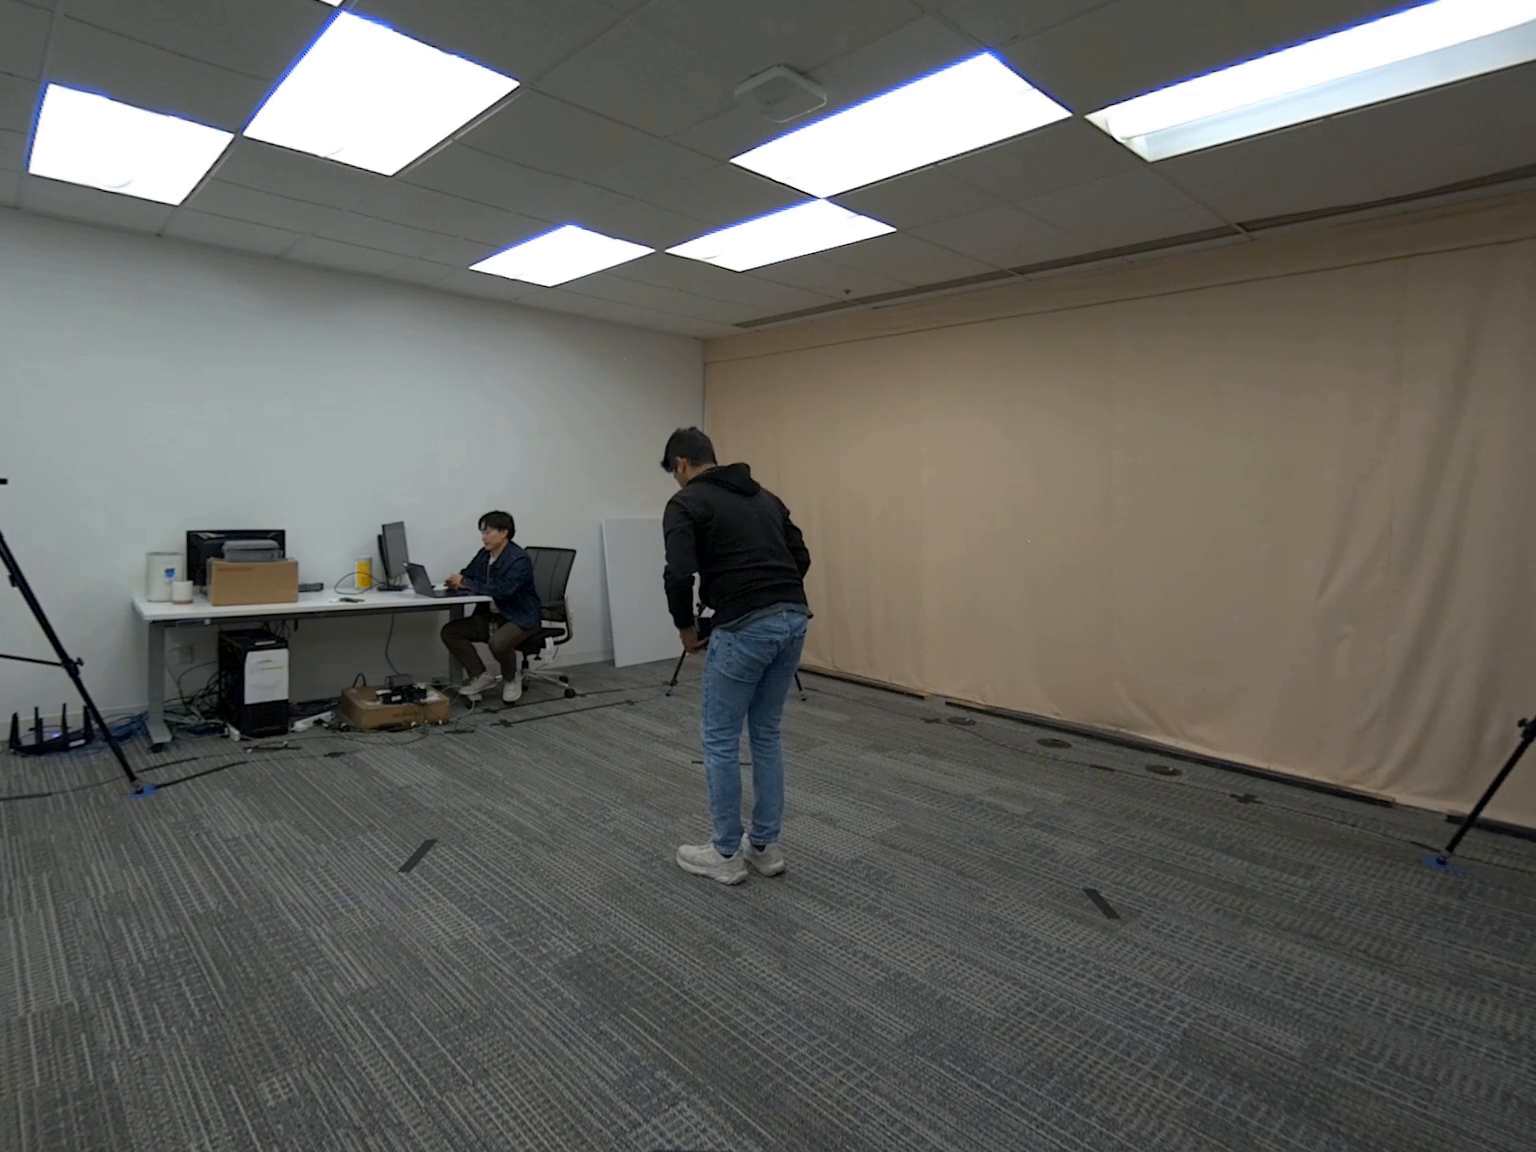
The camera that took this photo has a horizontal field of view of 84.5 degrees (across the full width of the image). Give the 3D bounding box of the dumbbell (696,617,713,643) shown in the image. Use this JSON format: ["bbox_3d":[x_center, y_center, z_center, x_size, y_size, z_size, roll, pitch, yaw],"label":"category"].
[{"bbox_3d":[-0.169,0.217,3.227,0.287,0.126,0.108,2,-35,-34],"label":"dumbbell"}]
